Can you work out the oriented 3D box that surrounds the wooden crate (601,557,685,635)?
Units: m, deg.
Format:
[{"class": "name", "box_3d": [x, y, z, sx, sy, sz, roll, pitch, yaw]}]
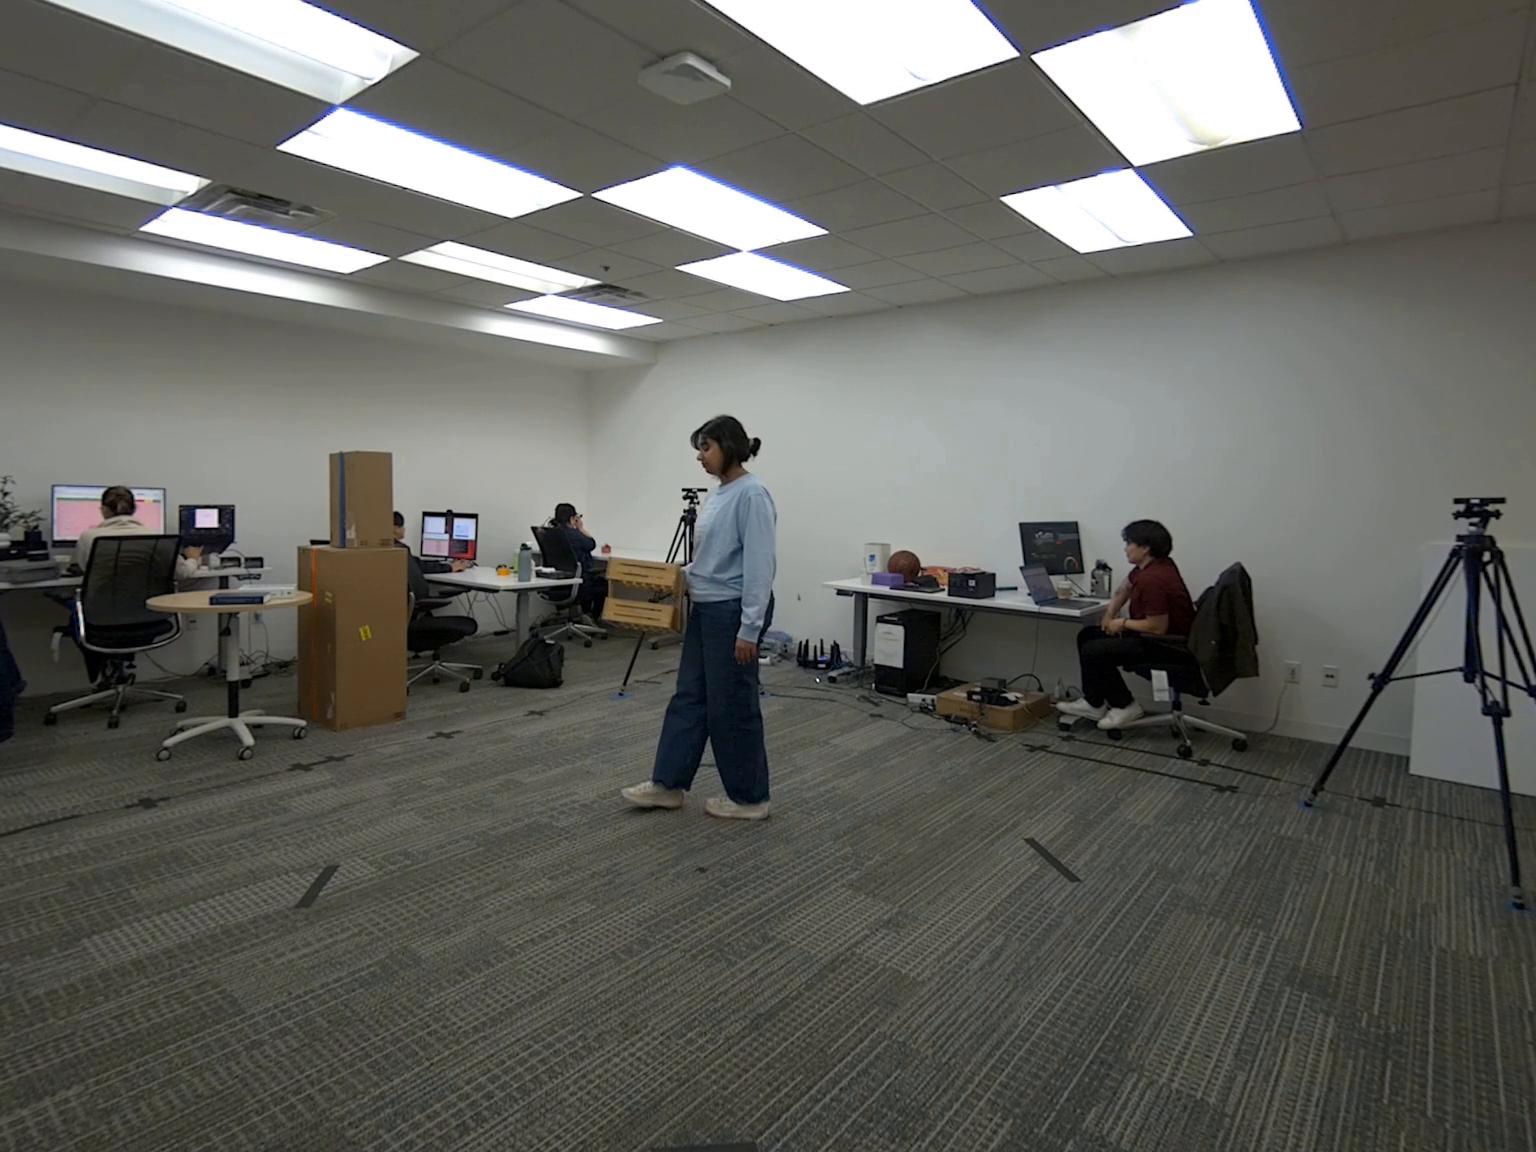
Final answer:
[{"class": "wooden crate", "box_3d": [-0.540, 0.085, 3.674, 0.329, 0.276, 0.295, 7, -13, 11]}]
